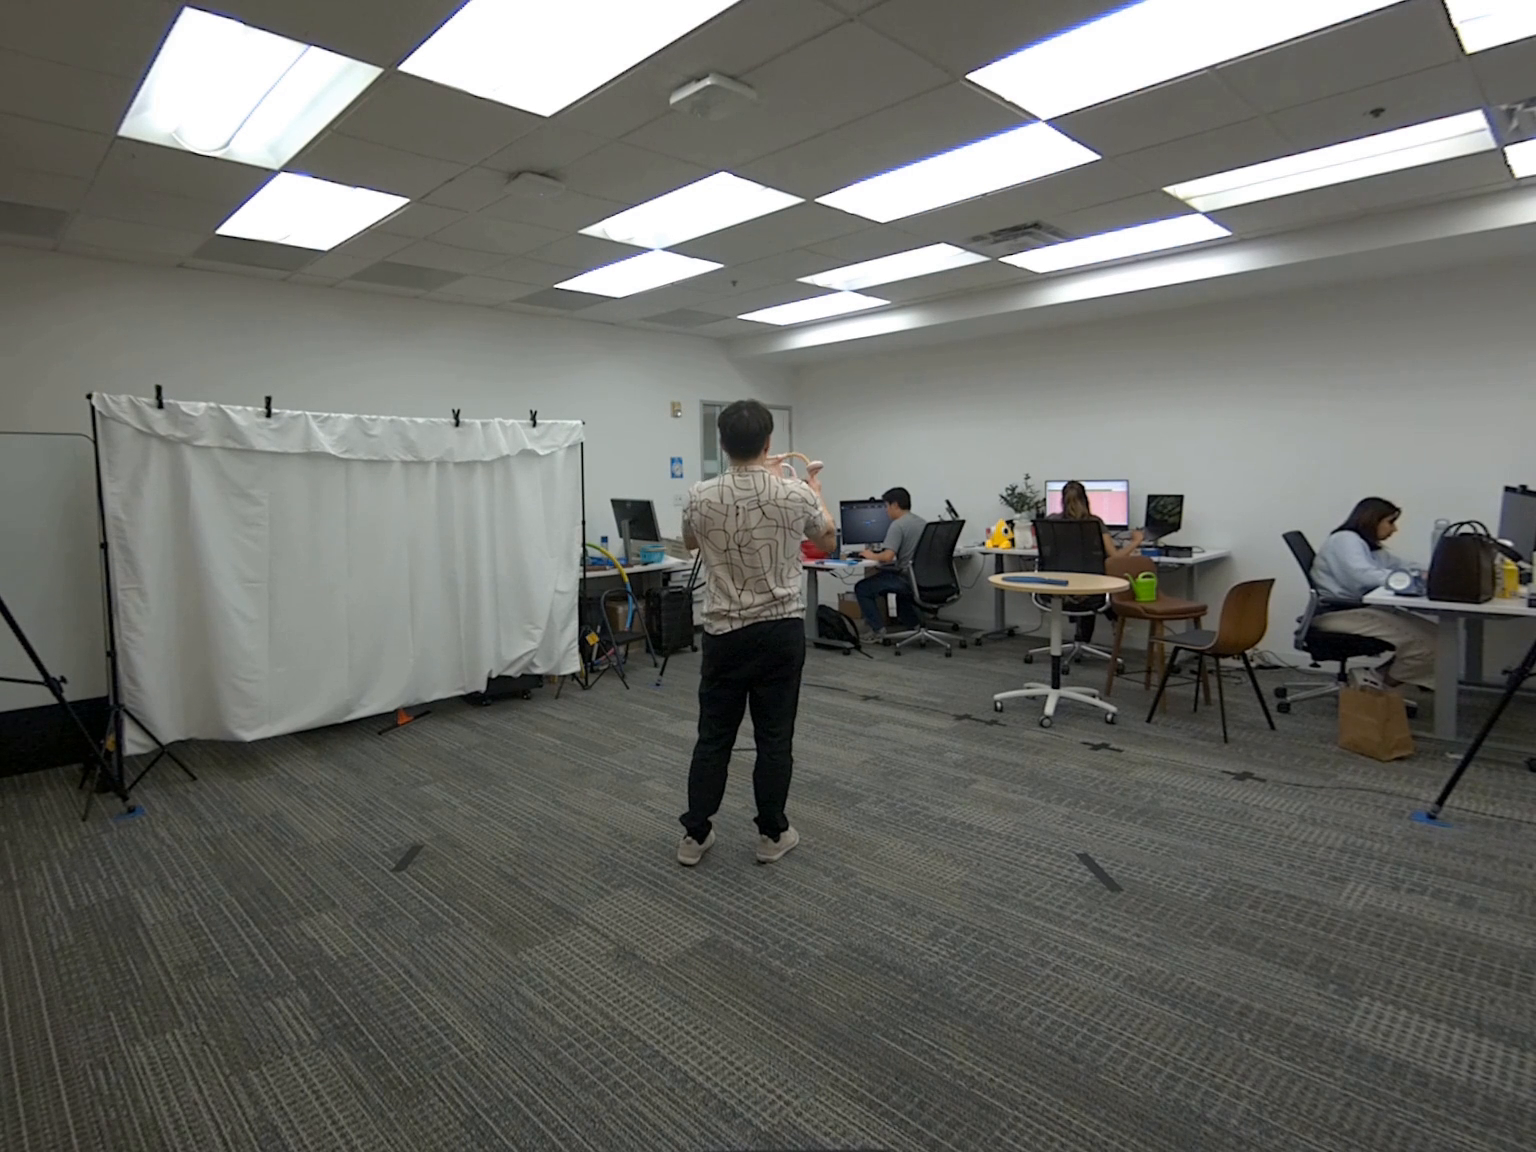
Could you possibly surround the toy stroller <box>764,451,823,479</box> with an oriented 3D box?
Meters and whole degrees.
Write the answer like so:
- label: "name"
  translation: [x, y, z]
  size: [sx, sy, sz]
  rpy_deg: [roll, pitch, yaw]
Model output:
- label: "toy stroller"
  translation: [-0.010, -0.357, 3.540]
  size: [0.336, 0.284, 0.538]
  rpy_deg: [-15, -8, -25]
